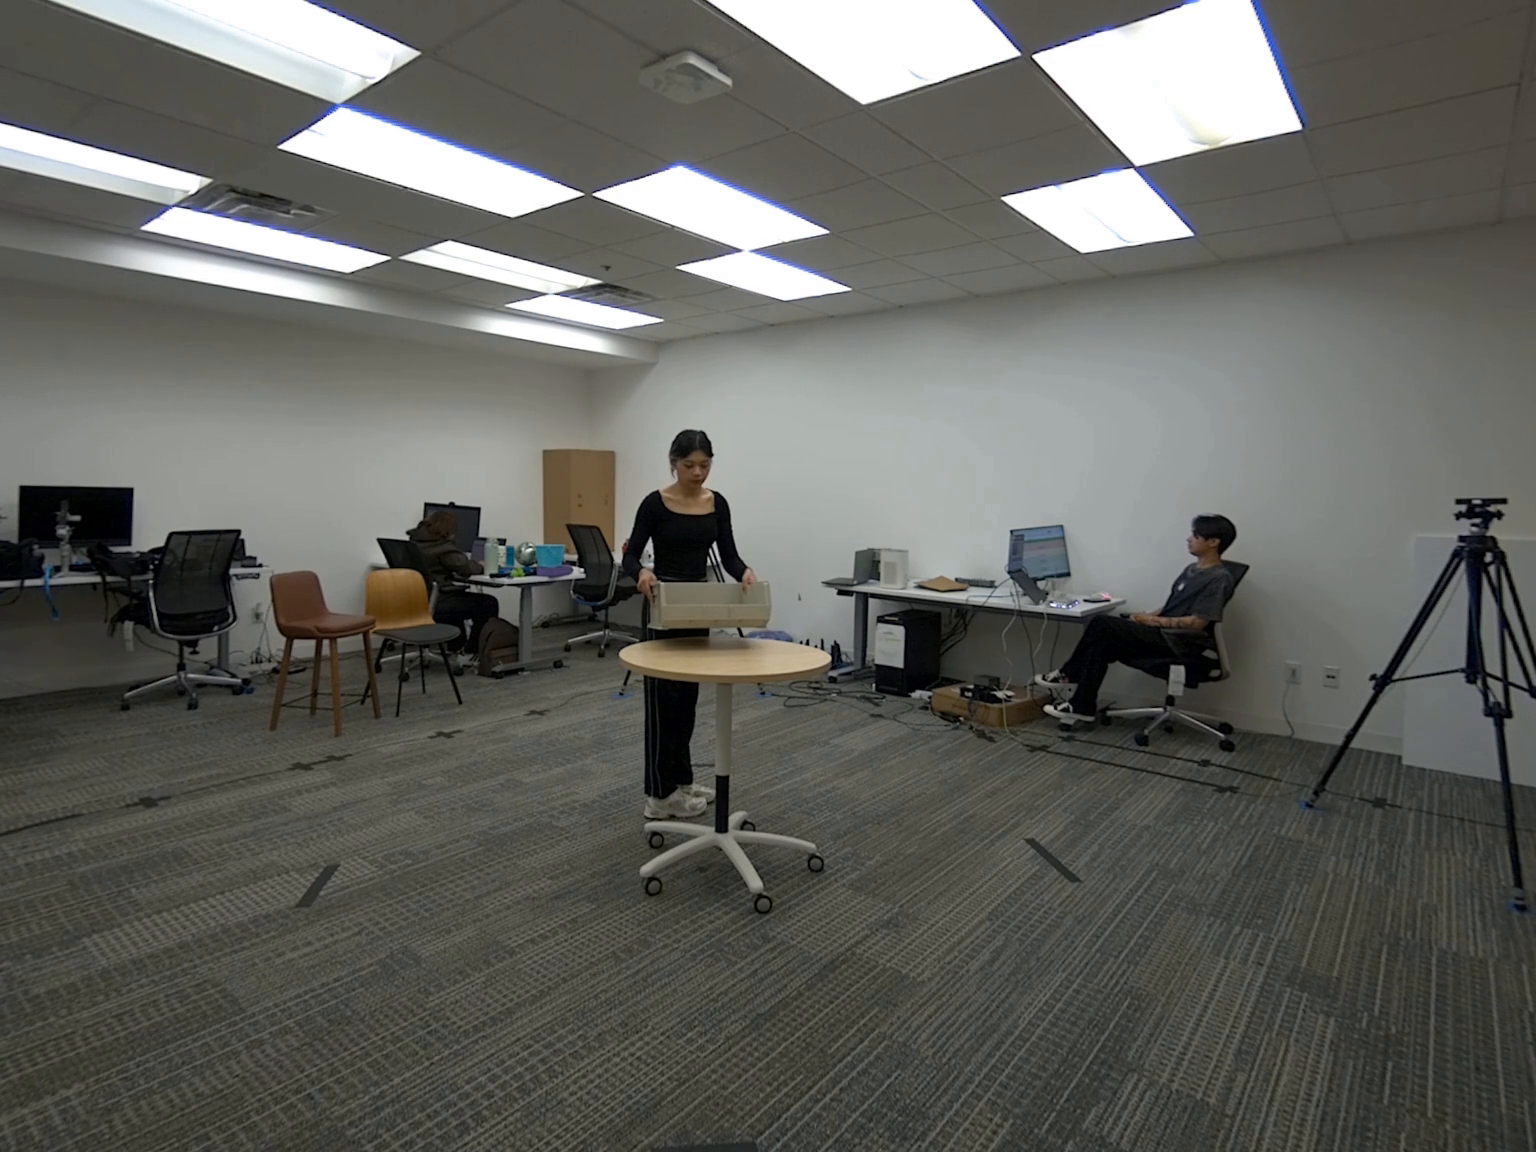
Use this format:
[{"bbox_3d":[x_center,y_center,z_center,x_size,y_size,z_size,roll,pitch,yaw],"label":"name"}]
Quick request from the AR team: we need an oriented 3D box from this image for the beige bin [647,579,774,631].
[{"bbox_3d":[-0.237,0.111,3.298,0.416,0.190,0.381,0,-3,-15],"label":"beige bin"}]
